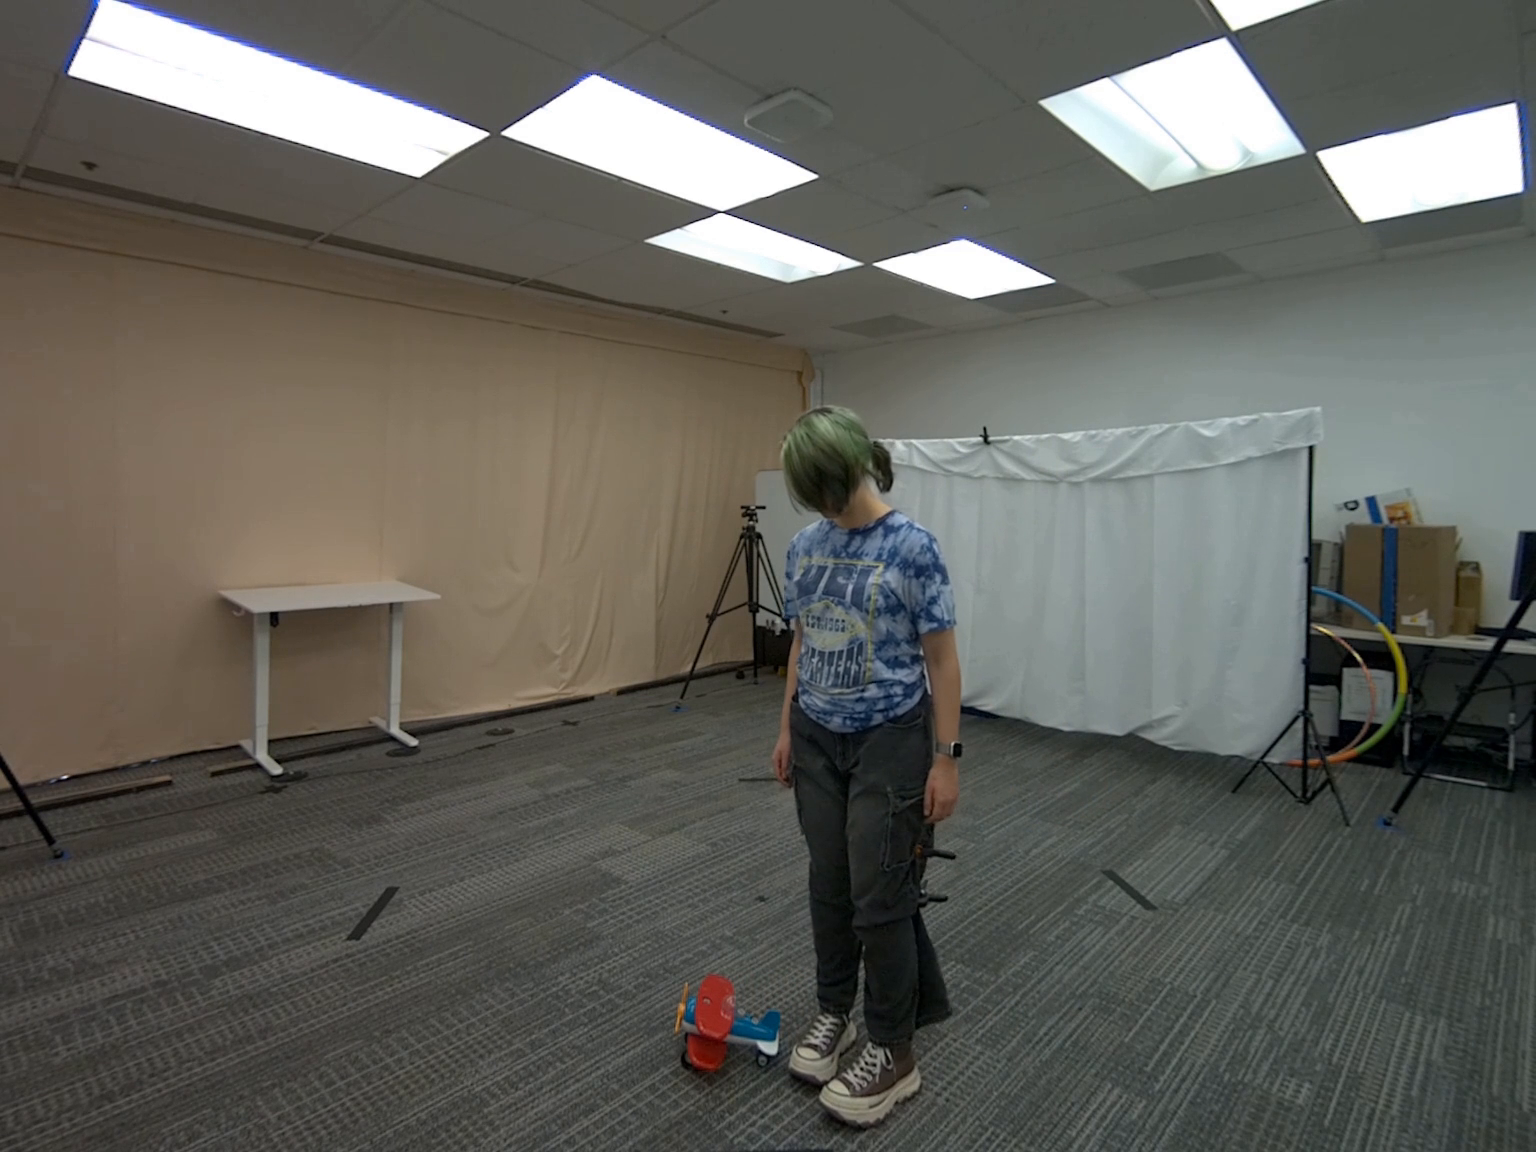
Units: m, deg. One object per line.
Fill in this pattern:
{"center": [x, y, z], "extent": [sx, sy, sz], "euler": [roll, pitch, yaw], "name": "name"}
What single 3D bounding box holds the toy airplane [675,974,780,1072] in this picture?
{"center": [-0.096, 1.149, 2.132], "extent": [0.254, 0.156, 0.257], "euler": [-3, 3, -22], "name": "toy airplane"}
